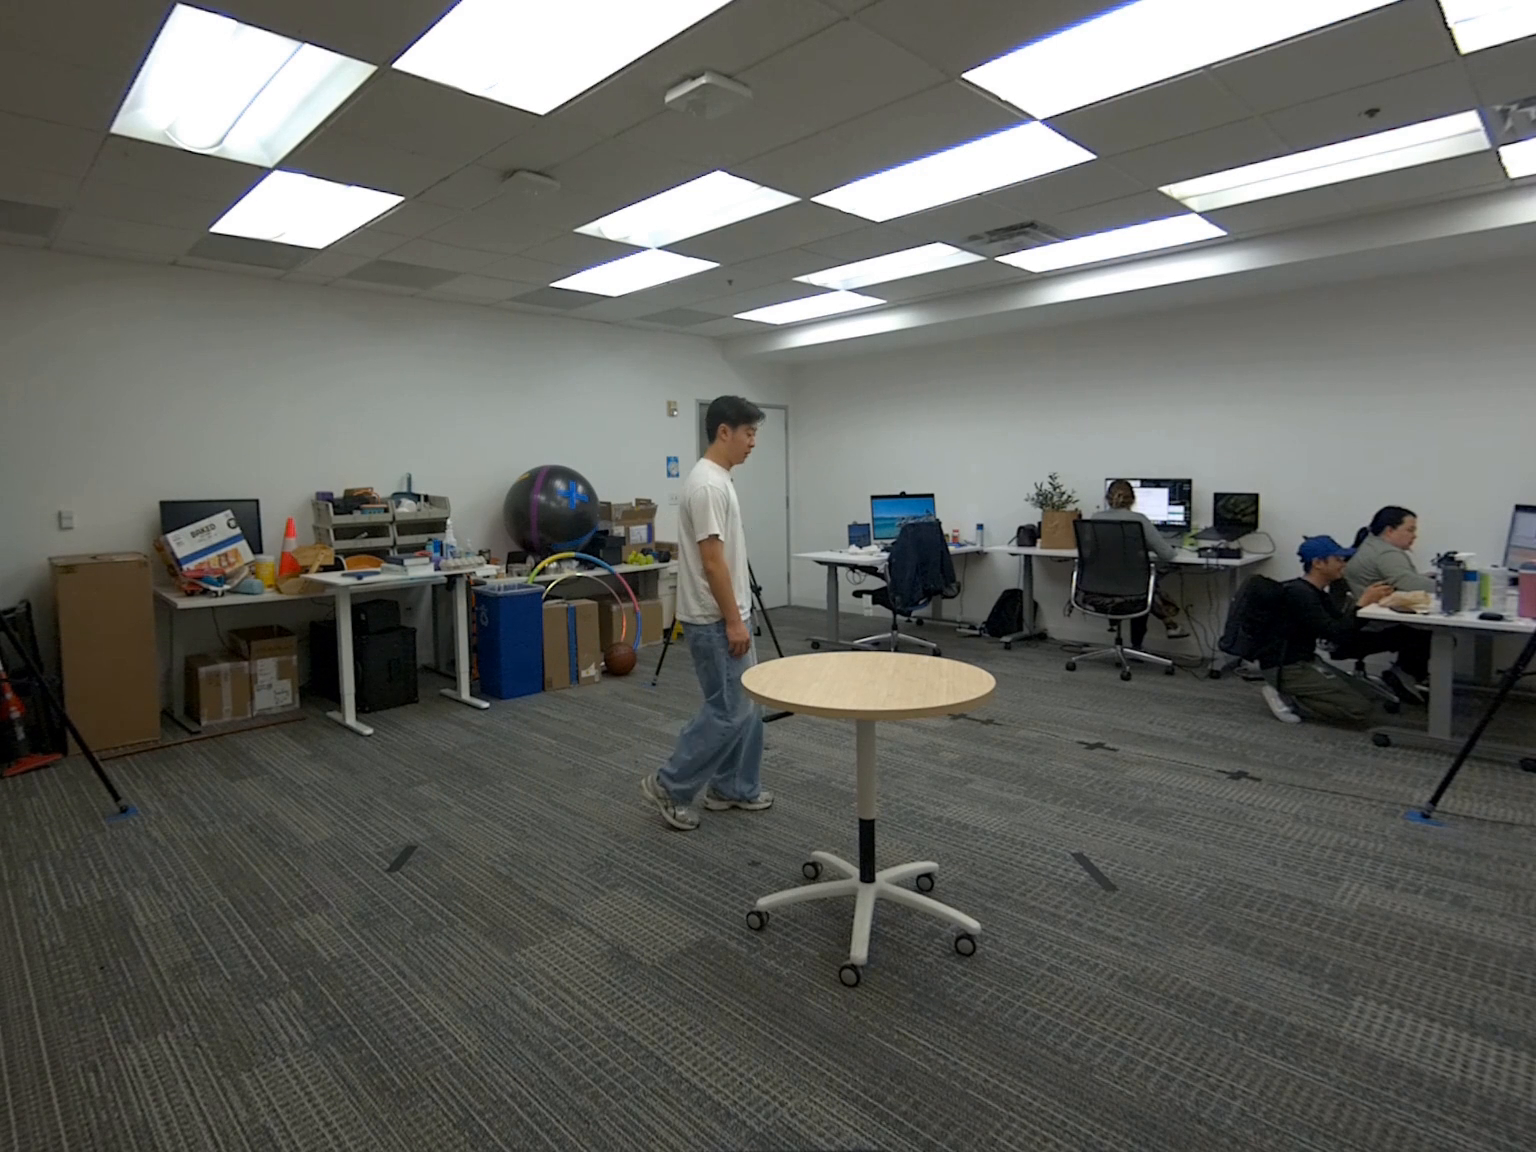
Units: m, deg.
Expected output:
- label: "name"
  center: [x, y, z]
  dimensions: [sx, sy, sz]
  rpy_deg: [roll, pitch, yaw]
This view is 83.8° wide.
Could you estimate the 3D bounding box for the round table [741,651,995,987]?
- label: "round table"
  center: [0.310, 0.702, 2.657]
  dimensions: [0.763, 0.791, 0.768]
  rpy_deg: [-1, 5, -2]
